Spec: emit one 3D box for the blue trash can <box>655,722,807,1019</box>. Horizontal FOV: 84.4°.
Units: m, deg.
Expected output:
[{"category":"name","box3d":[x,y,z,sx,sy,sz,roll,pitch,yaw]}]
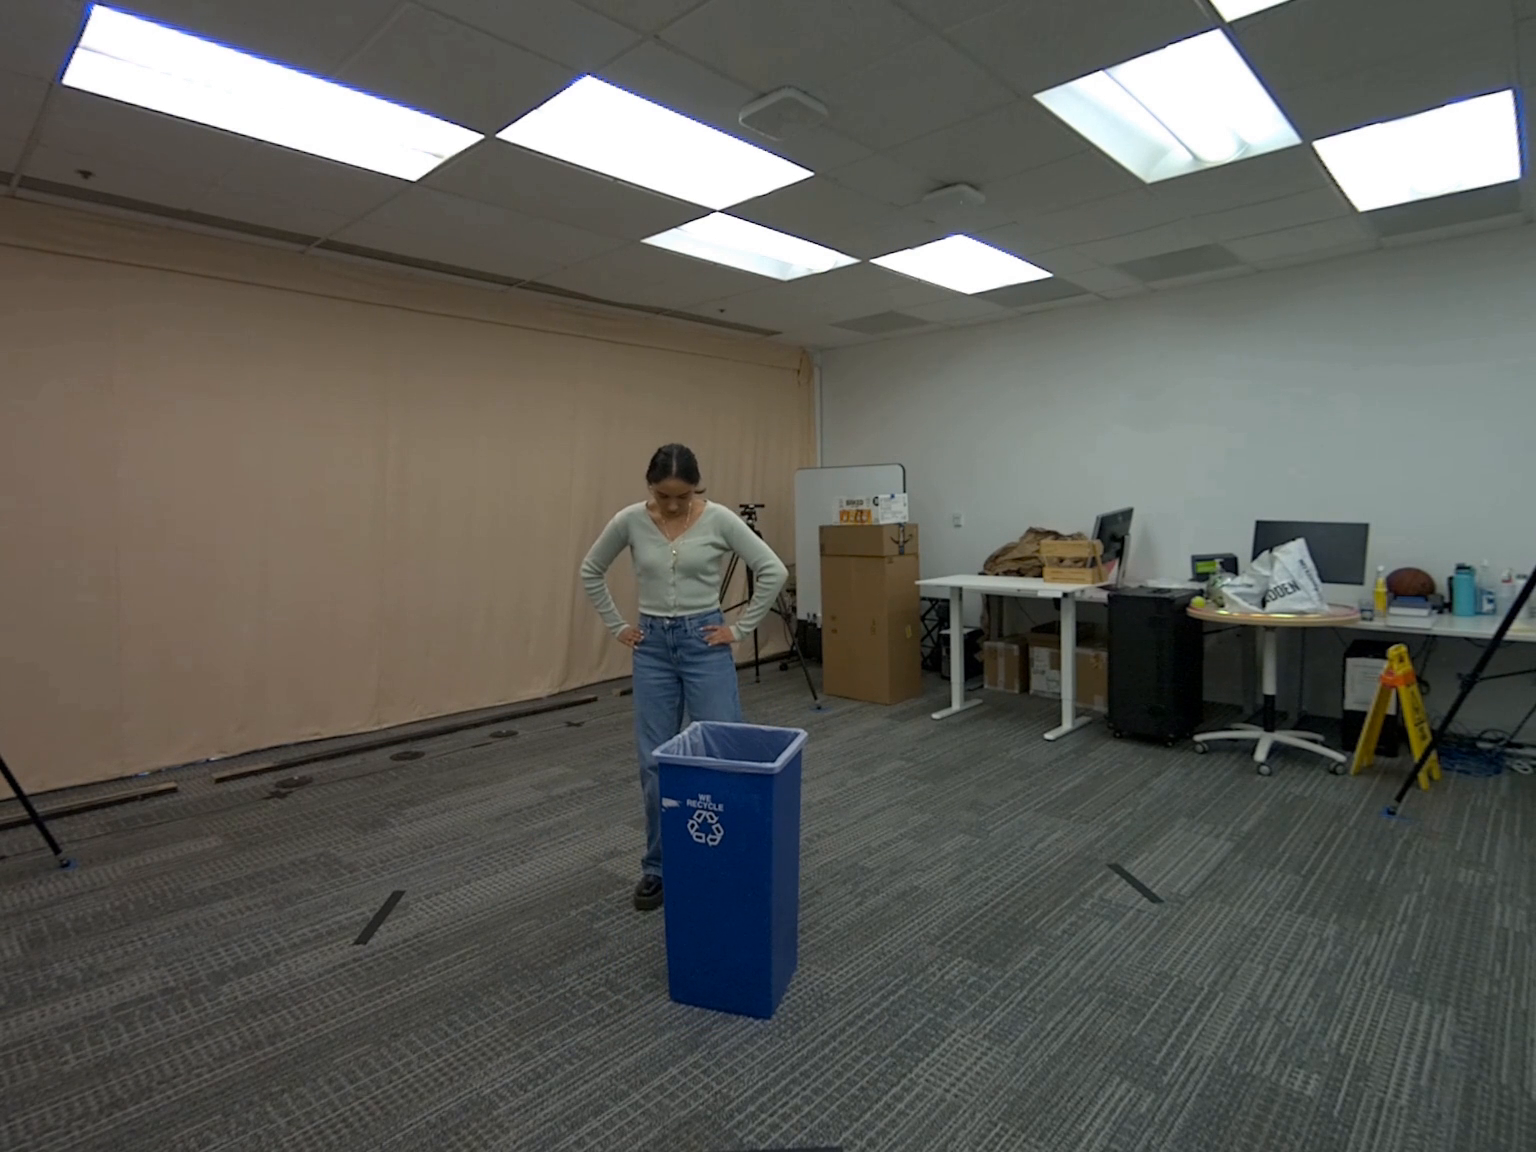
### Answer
[{"category":"blue trash can","box3d":[-0.093,0.828,2.433,0.386,0.712,0.367,0,3,20]}]
